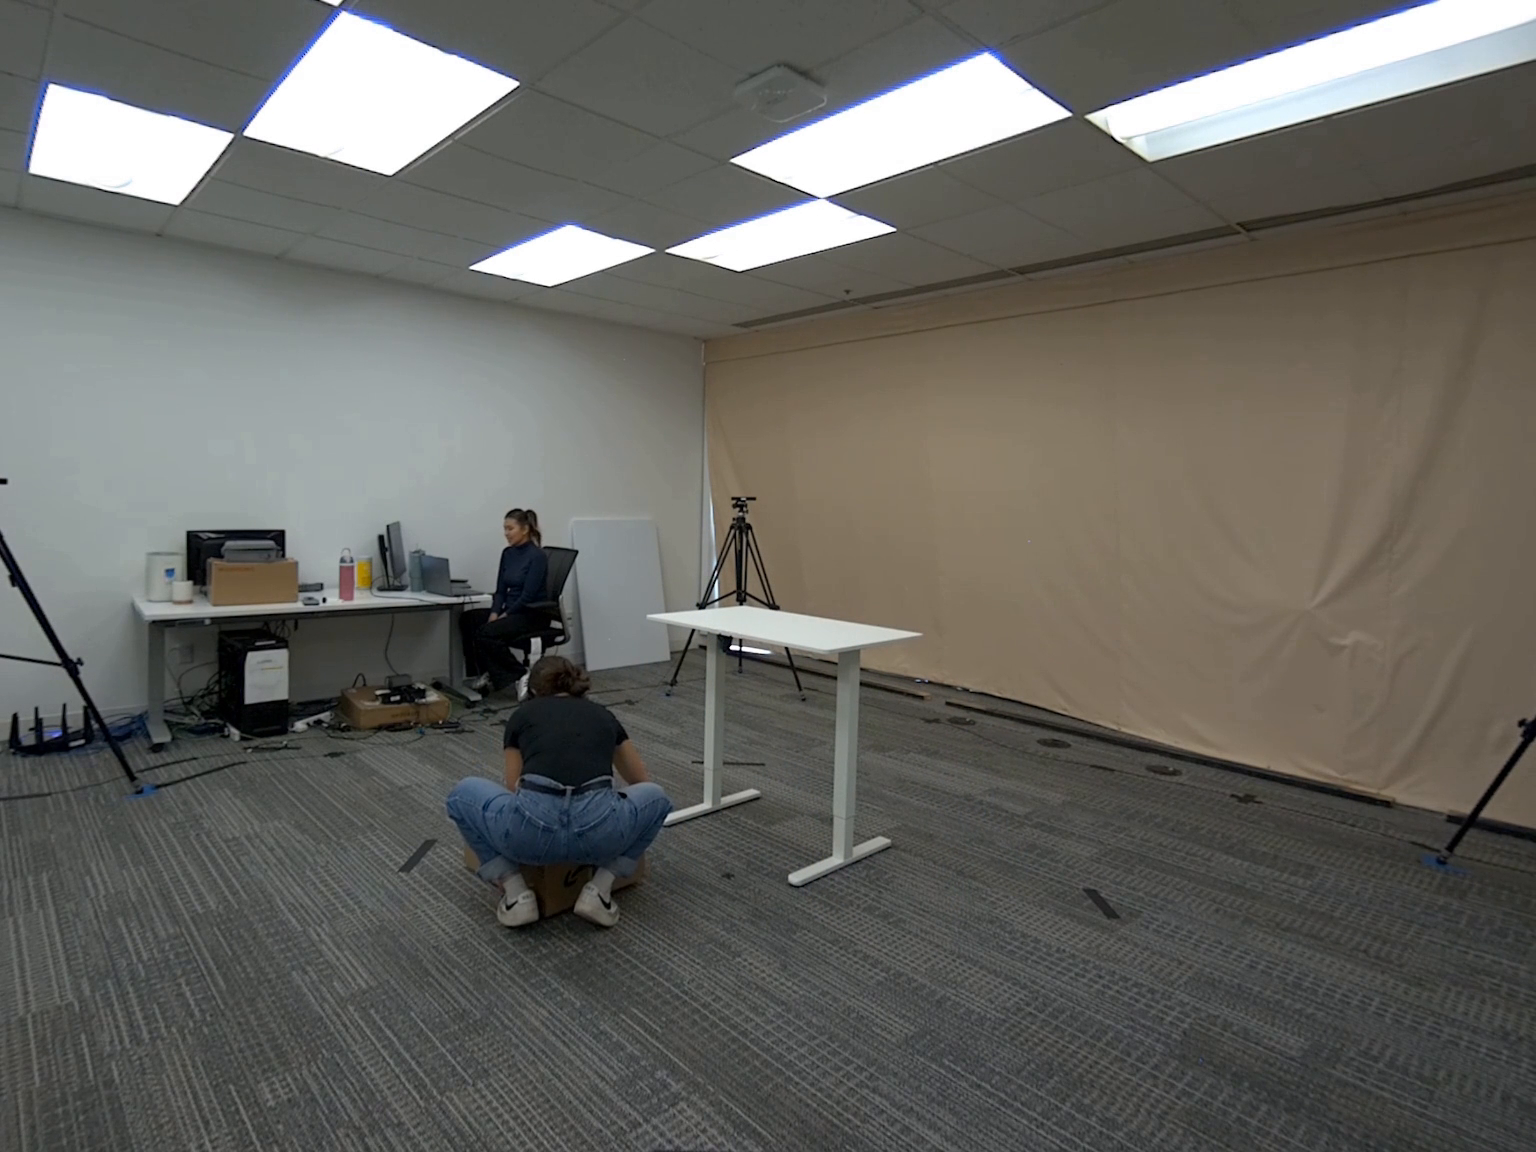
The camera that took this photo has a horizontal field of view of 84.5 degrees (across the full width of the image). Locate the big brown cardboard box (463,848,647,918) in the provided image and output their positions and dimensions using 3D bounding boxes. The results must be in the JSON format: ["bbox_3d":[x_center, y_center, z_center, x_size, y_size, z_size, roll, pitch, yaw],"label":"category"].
[{"bbox_3d":[-0.795,0.976,3.070,0.408,0.232,0.604,-4,6,-45],"label":"big brown cardboard box"}]
